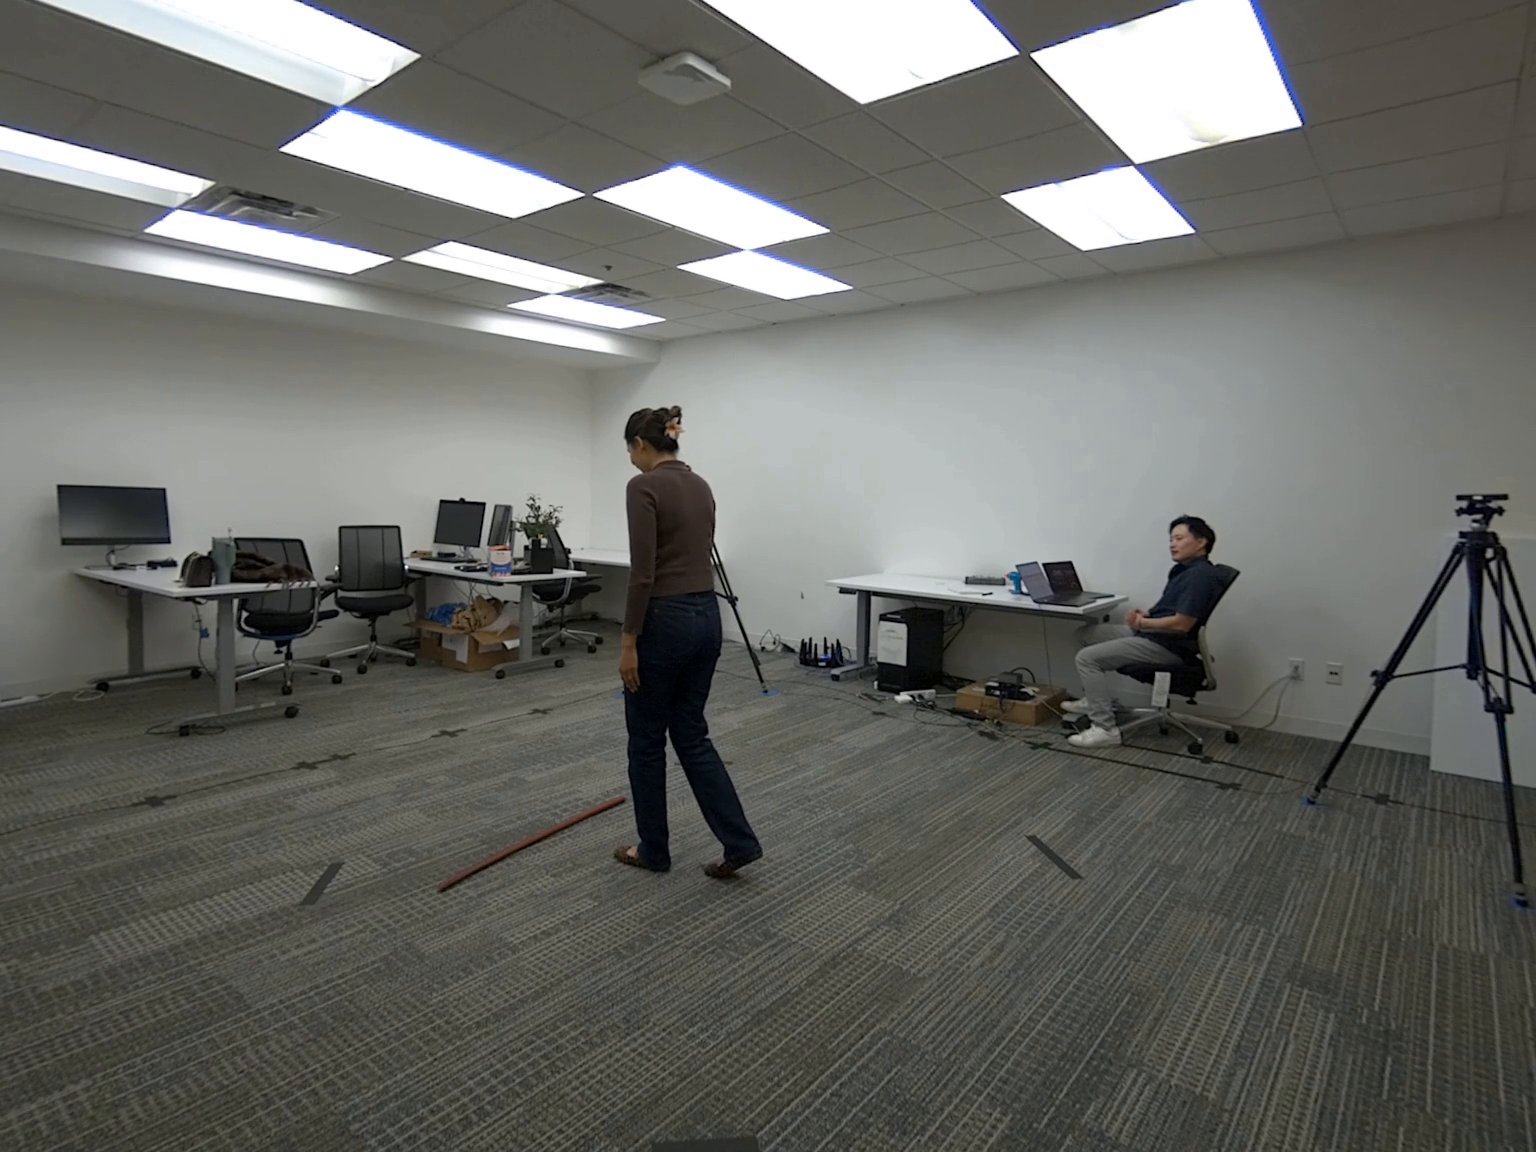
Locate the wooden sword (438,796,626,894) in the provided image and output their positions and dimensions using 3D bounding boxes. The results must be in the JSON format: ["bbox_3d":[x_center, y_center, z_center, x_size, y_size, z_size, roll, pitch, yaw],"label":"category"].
[{"bbox_3d":[-0.883,1.010,3.339,0.053,0.024,1.000,-1,5,29],"label":"wooden sword"}]
